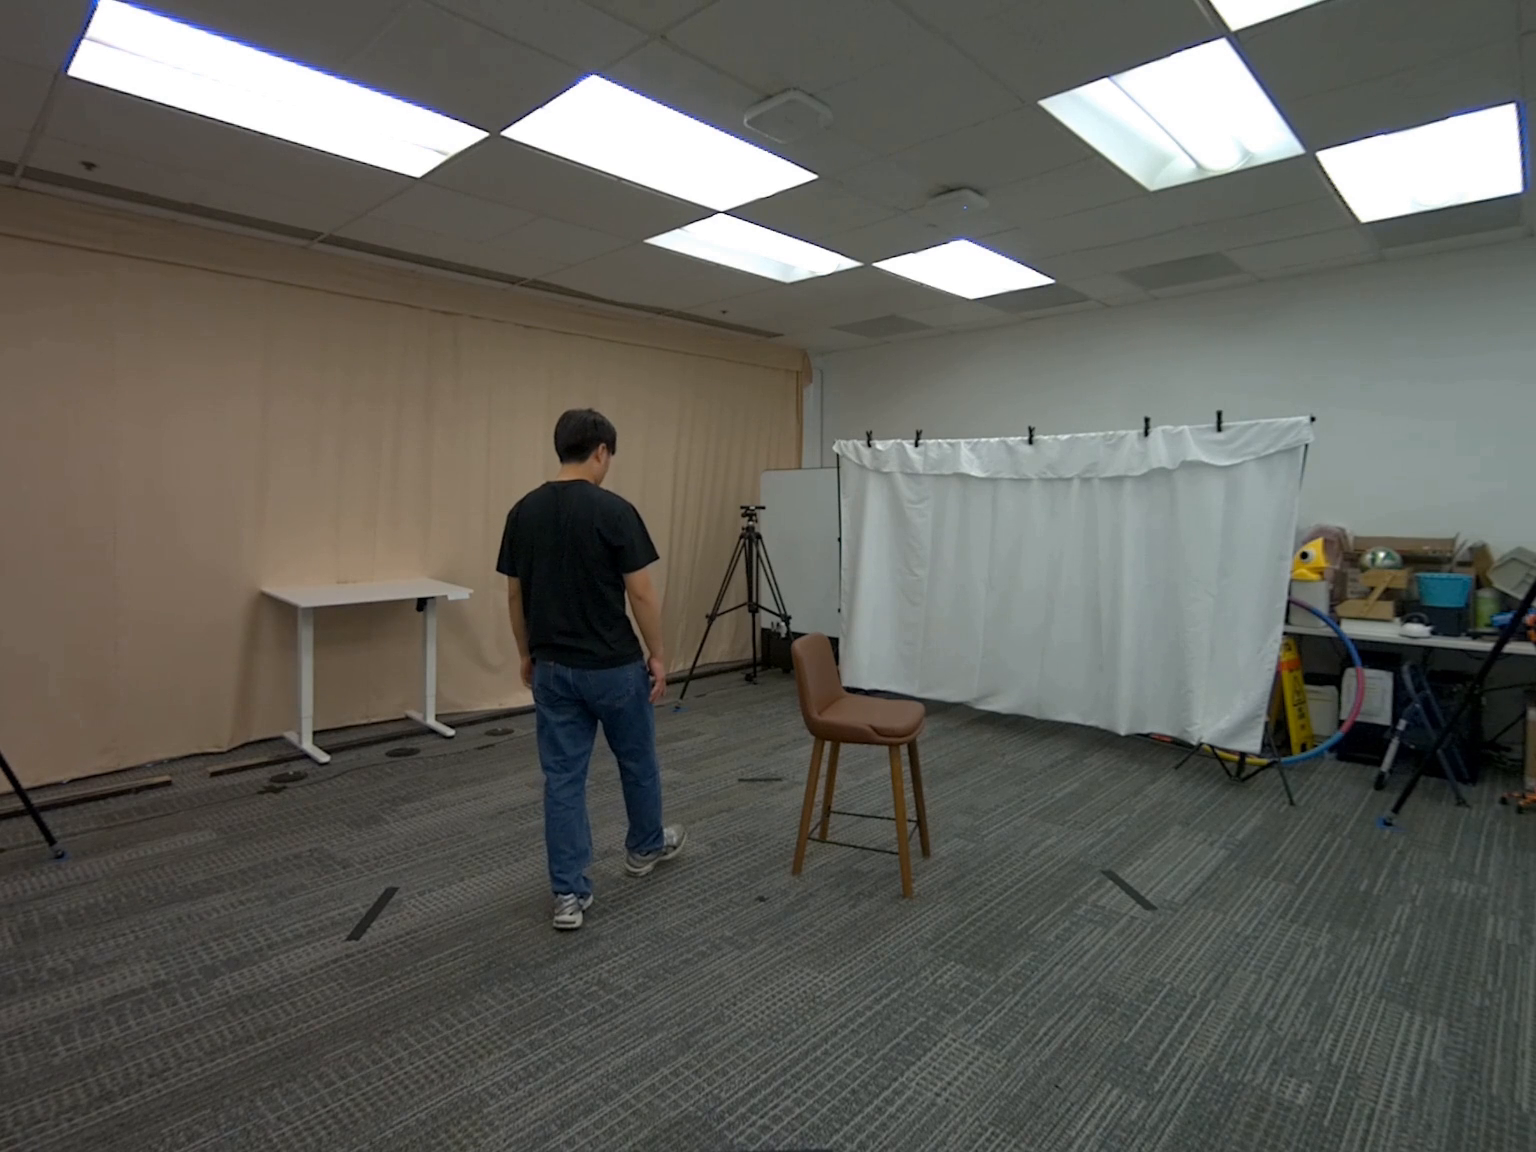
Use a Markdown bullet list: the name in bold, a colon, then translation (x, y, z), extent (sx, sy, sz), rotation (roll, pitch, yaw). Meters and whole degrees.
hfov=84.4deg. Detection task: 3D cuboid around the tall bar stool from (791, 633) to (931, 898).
- **tall bar stool**: translation (0.370, 0.686, 3.241), extent (0.478, 0.888, 0.447), rotation (0, 2, 22)
